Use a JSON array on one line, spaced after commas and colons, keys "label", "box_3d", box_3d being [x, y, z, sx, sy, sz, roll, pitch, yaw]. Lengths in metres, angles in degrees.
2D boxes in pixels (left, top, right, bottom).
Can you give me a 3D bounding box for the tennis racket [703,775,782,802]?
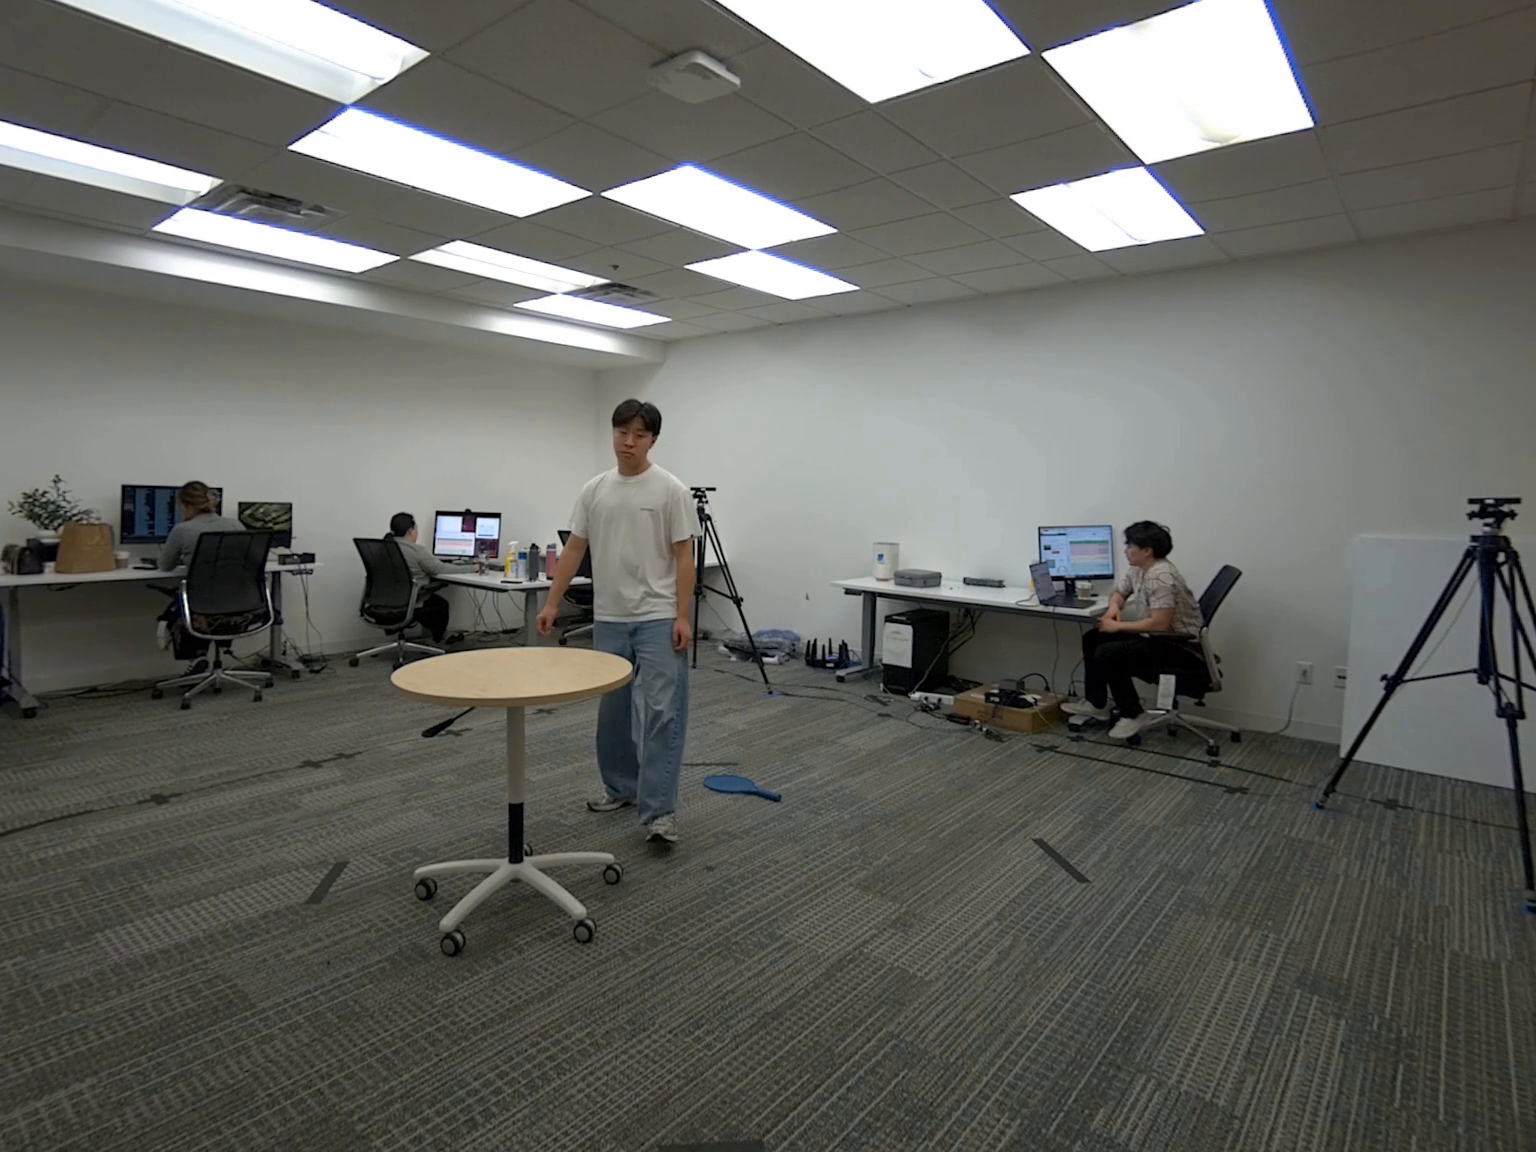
[{"label": "tennis racket", "box_3d": [-0.130, 0.975, 3.935, 0.447, 0.031, 0.207, 4, 7, 41]}]
